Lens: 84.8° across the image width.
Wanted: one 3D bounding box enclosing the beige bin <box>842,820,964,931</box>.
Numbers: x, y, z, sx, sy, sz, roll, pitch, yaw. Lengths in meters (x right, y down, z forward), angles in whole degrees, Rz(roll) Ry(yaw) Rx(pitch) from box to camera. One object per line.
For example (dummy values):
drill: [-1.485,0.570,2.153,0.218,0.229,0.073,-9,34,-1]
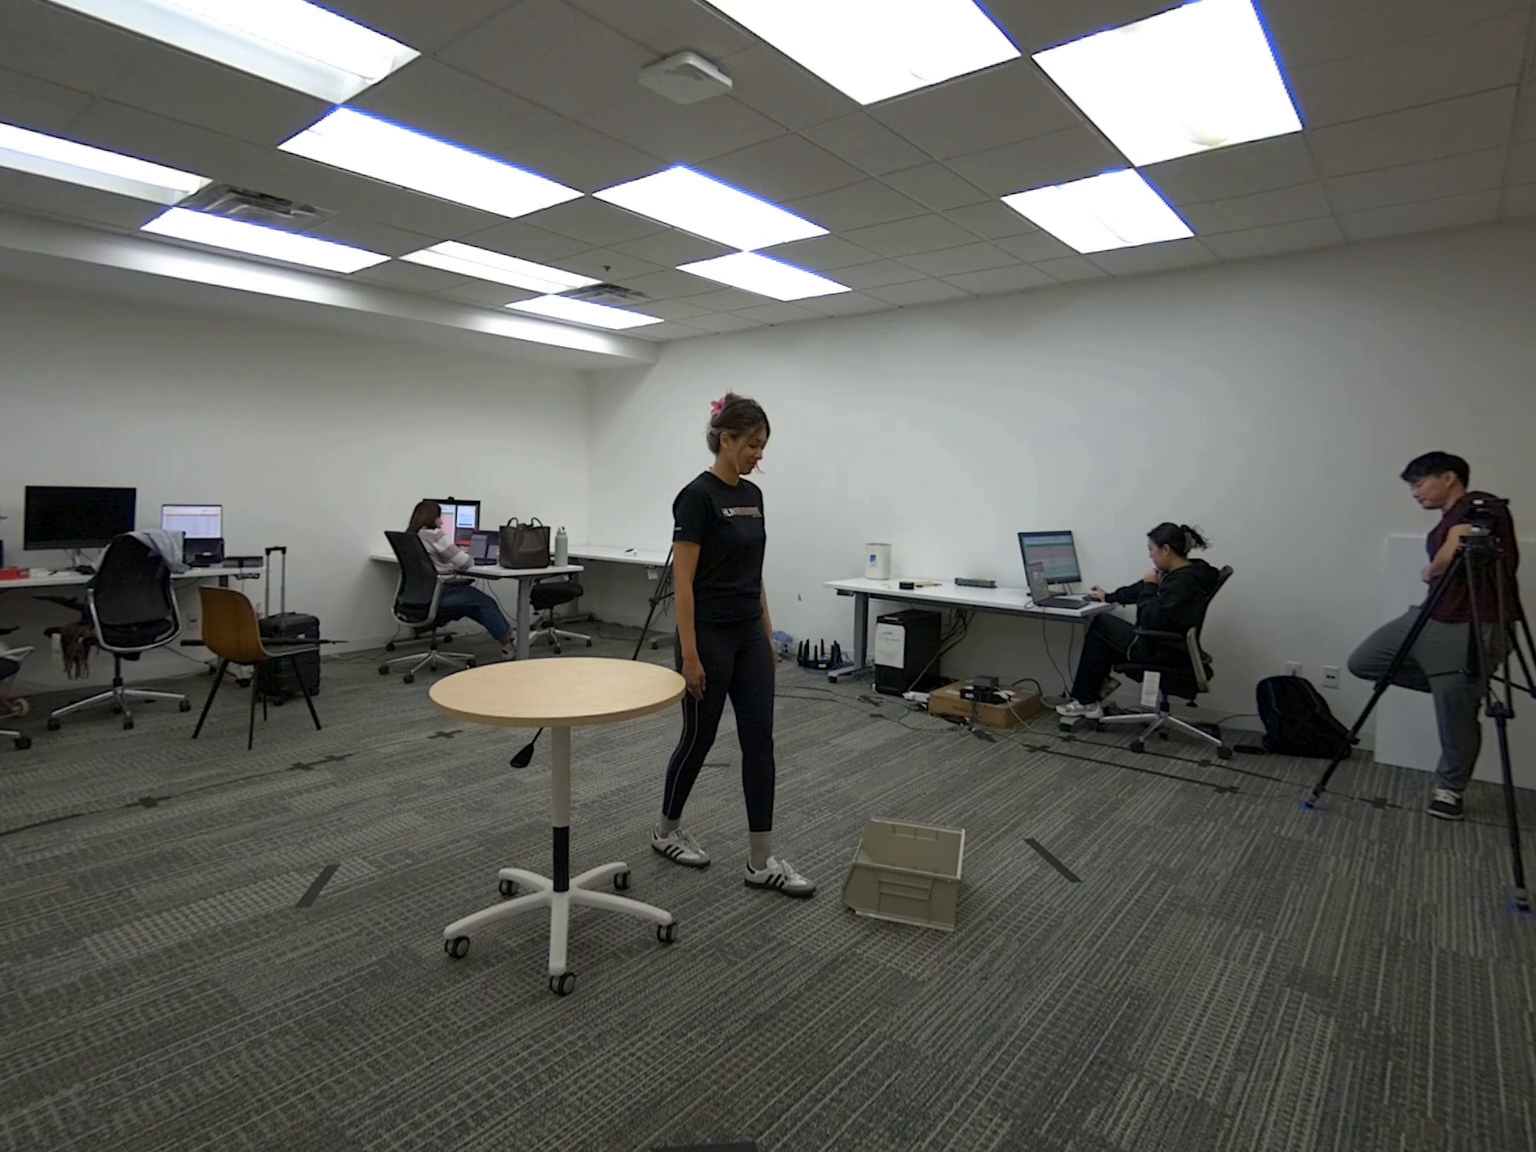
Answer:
beige bin: [0.474,1.015,2.946,0.384,0.188,0.416,4,5,16]
